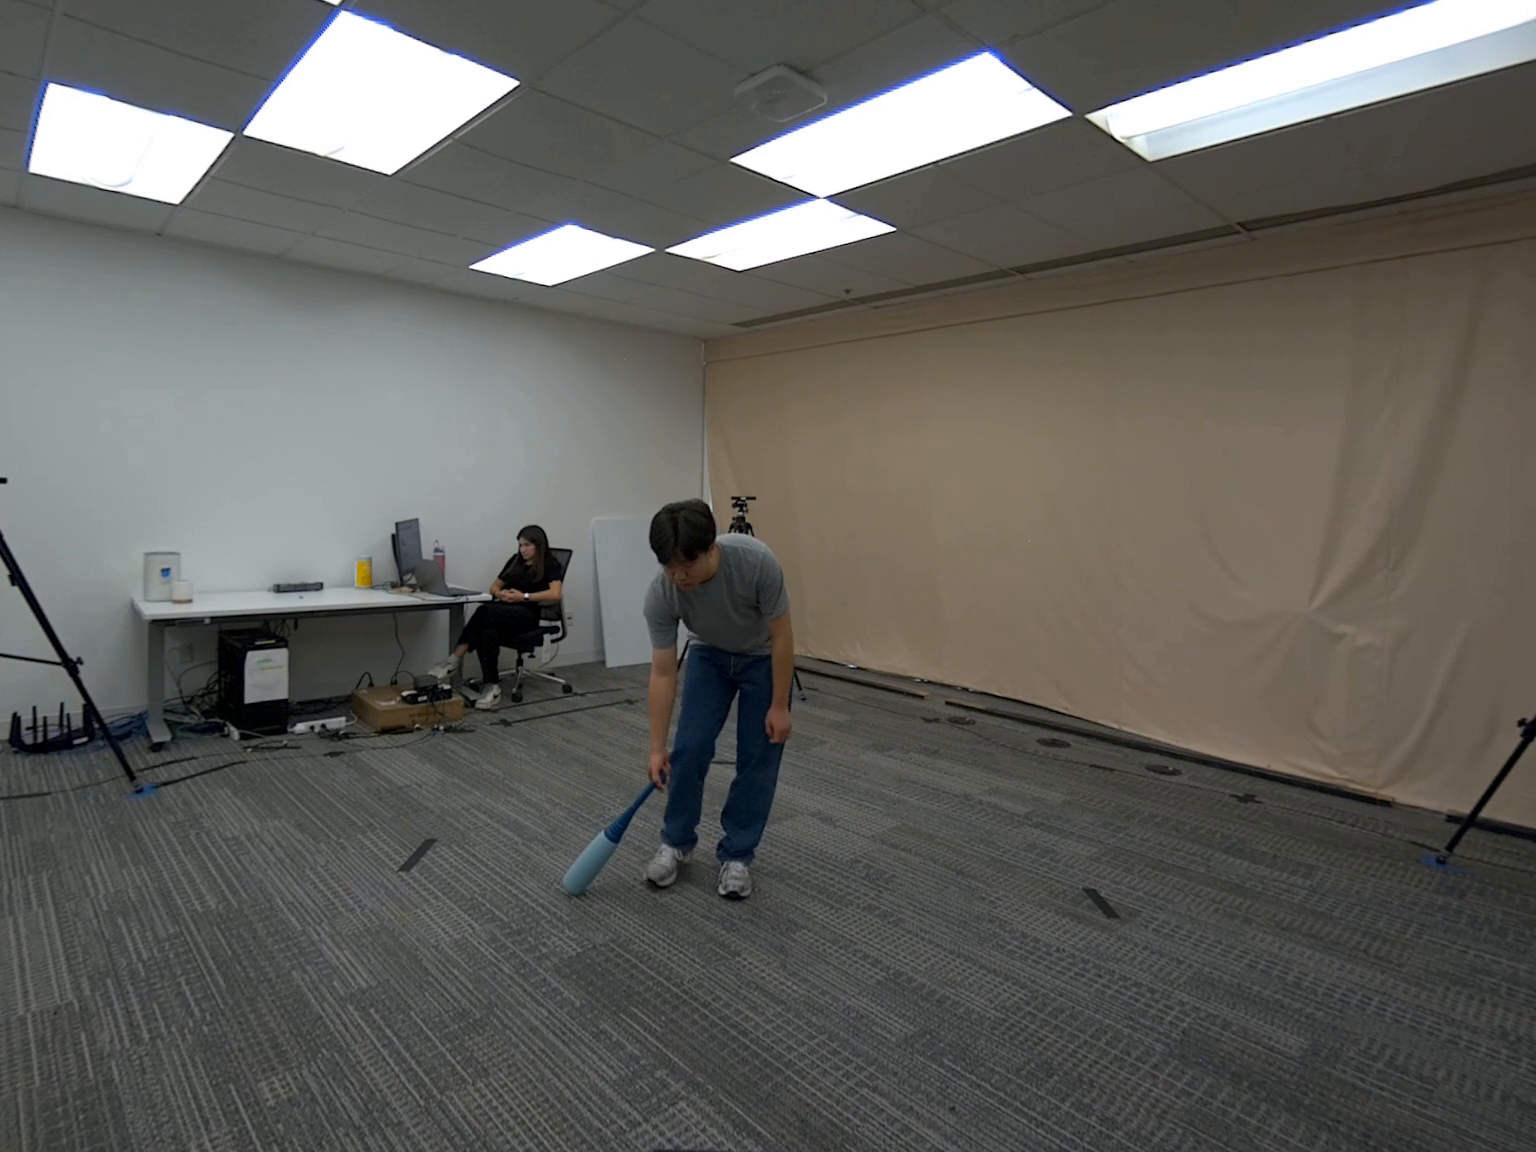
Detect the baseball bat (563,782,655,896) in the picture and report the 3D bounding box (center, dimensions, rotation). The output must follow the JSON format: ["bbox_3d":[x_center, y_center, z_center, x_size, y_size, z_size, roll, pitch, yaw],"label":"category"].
[{"bbox_3d":[-0.539,0.886,2.884,0.088,0.542,0.090,36,13,-11],"label":"baseball bat"}]
